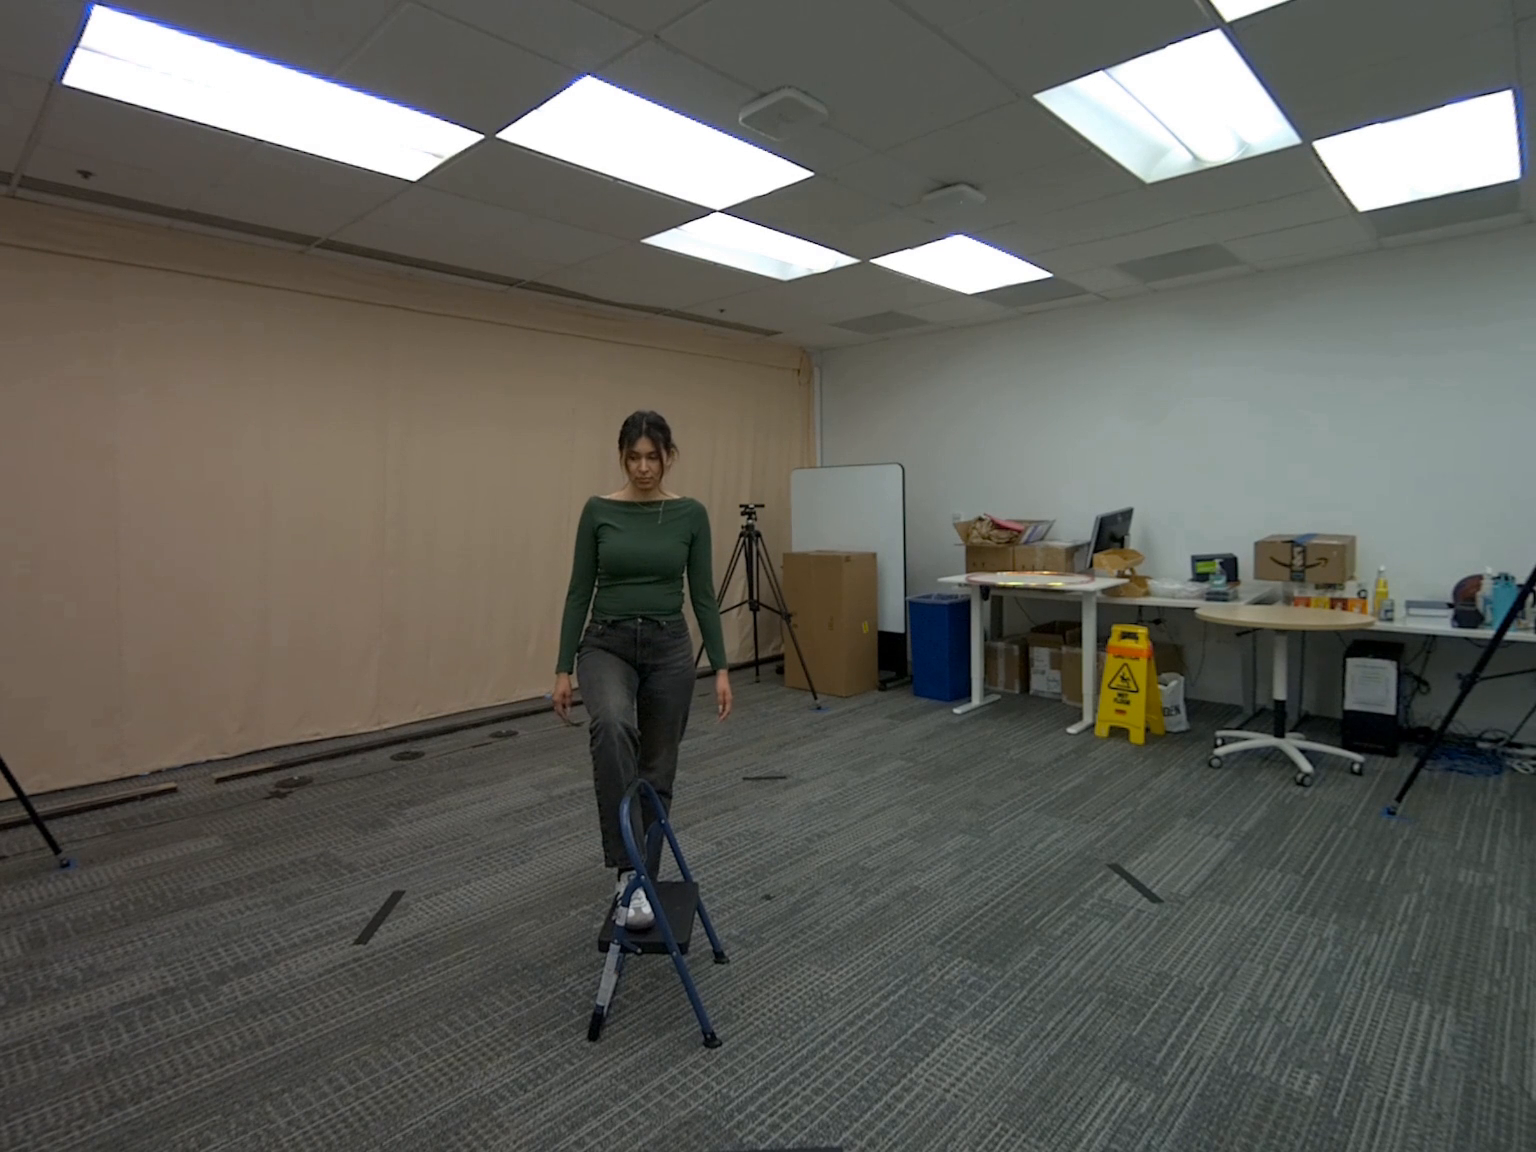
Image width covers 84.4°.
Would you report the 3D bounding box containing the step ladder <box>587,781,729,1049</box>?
[{"bbox_3d":[-0.296,0.902,2.367,0.350,0.605,0.431,0,4,1],"label":"step ladder"}]
